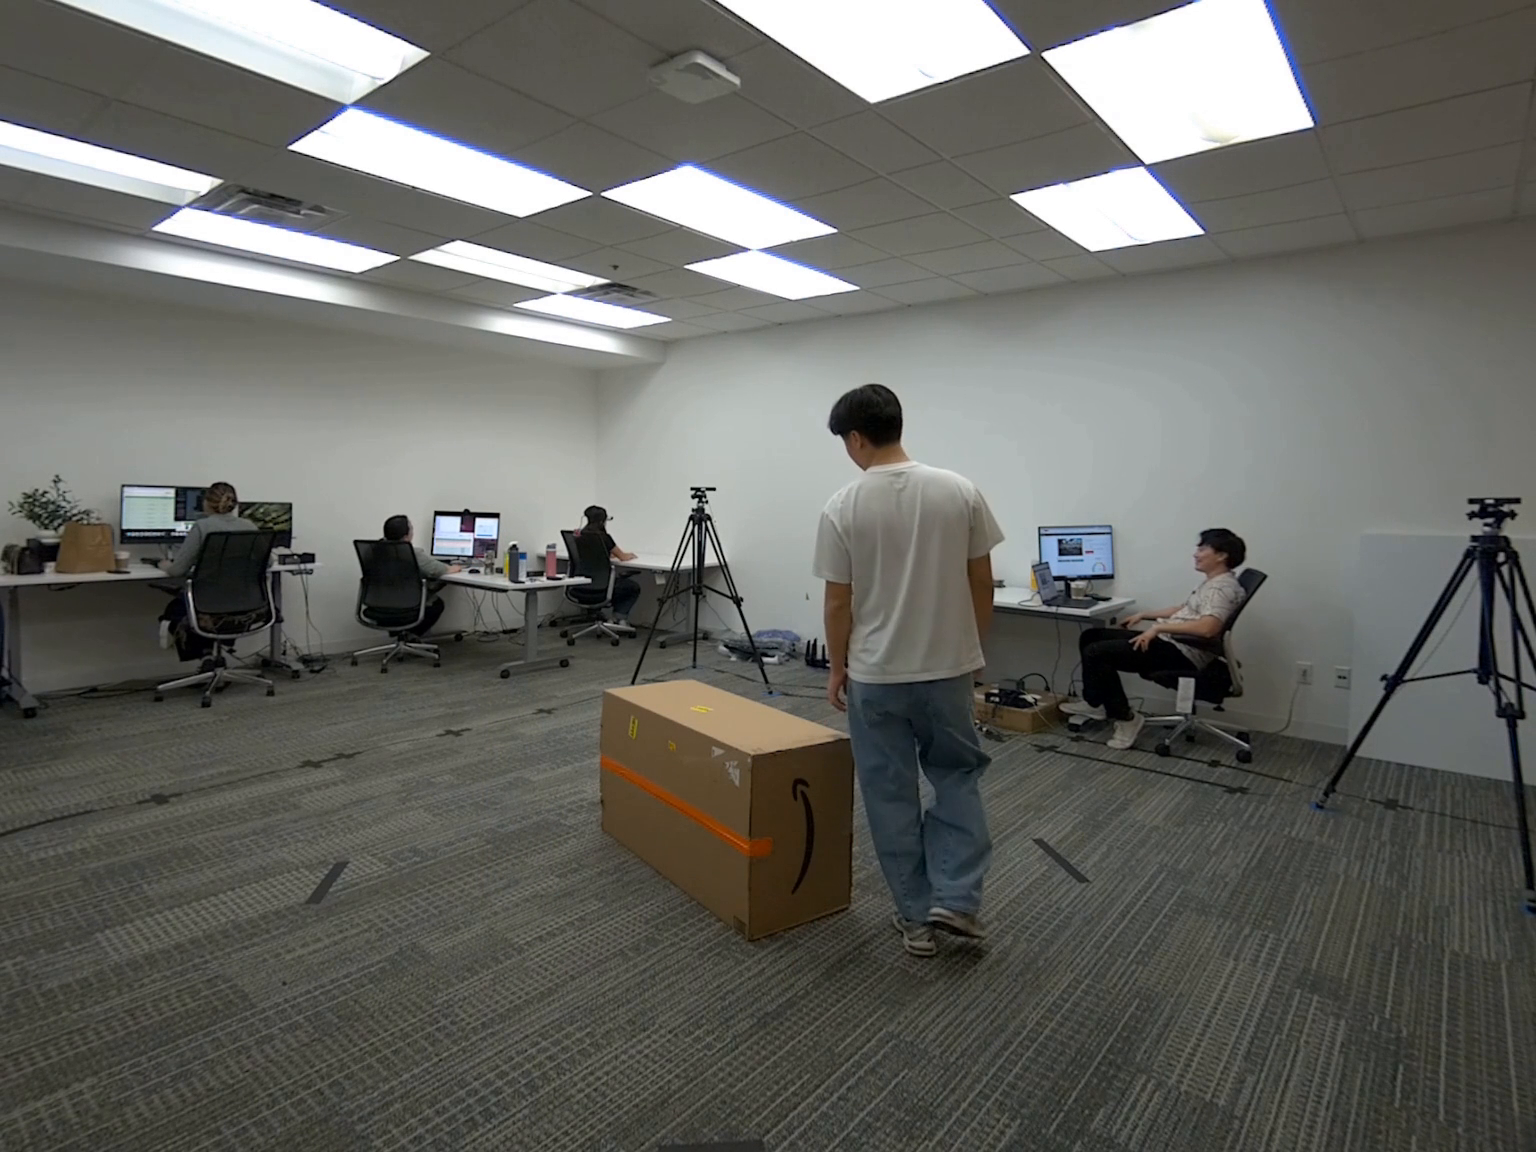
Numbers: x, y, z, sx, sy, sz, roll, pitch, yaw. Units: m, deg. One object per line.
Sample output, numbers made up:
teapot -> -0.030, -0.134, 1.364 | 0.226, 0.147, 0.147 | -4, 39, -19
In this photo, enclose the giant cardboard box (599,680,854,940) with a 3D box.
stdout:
giant cardboard box -> -0.208, 0.777, 3.123 | 0.414, 0.576, 1.060 | -1, 5, -36
